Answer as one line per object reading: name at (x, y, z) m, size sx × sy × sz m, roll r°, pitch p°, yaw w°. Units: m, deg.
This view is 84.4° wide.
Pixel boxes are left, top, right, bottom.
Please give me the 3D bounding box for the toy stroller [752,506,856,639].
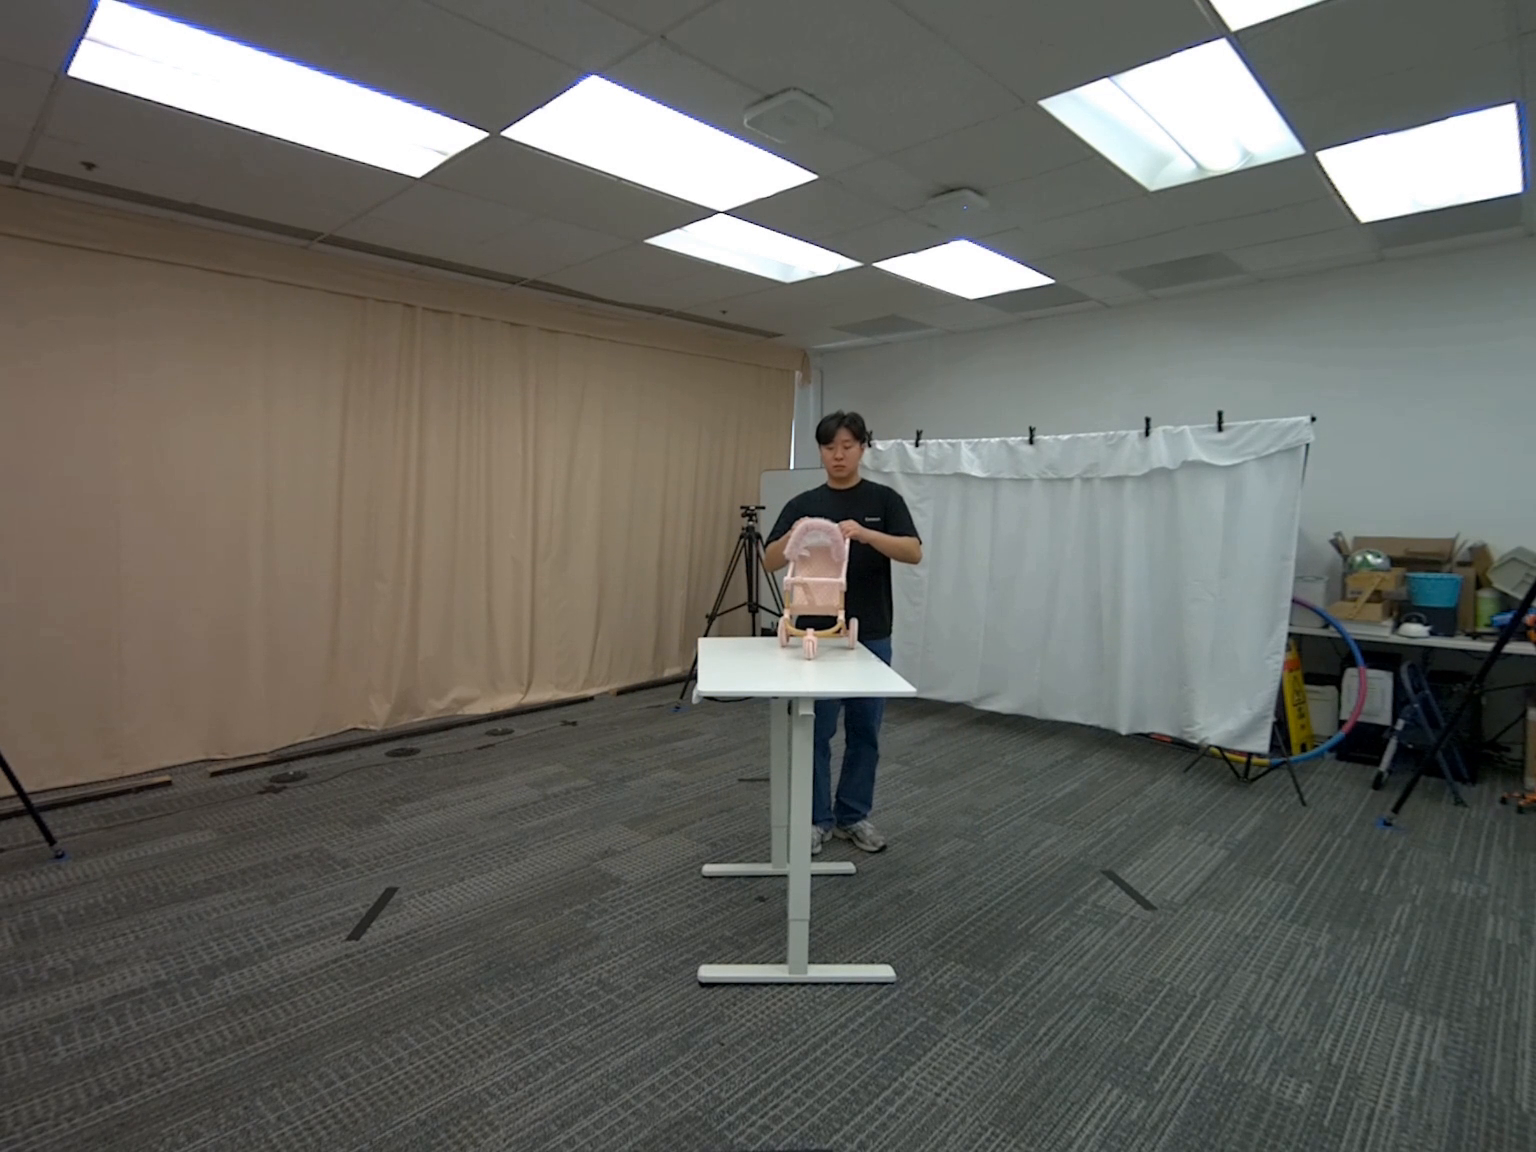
toy stroller at (0.168, 0.040, 2.950) m, size 0.286 × 0.538 × 0.333 m, roll 1°, pitch -11°, yaw 16°
